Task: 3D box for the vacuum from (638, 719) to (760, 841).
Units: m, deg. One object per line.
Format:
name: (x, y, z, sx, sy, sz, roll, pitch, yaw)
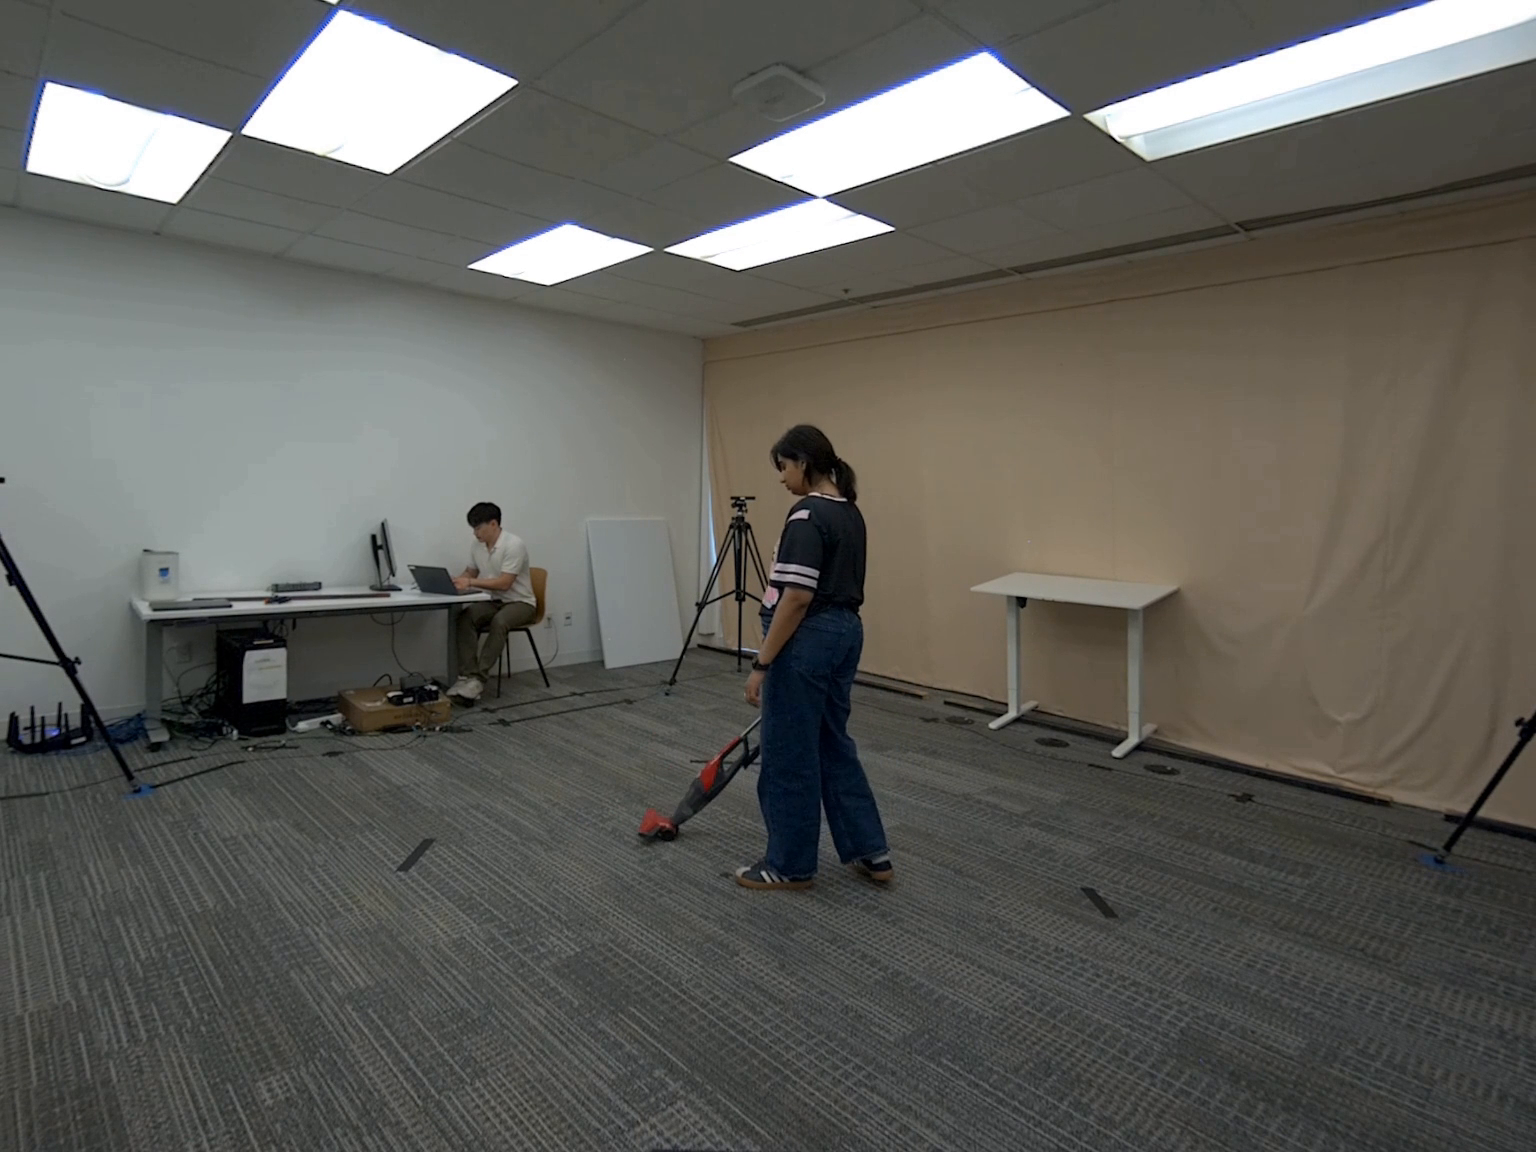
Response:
vacuum: (-0.082, 0.685, 3.423, 1.049, 0.144, 0.253, -43, 3, 4)
